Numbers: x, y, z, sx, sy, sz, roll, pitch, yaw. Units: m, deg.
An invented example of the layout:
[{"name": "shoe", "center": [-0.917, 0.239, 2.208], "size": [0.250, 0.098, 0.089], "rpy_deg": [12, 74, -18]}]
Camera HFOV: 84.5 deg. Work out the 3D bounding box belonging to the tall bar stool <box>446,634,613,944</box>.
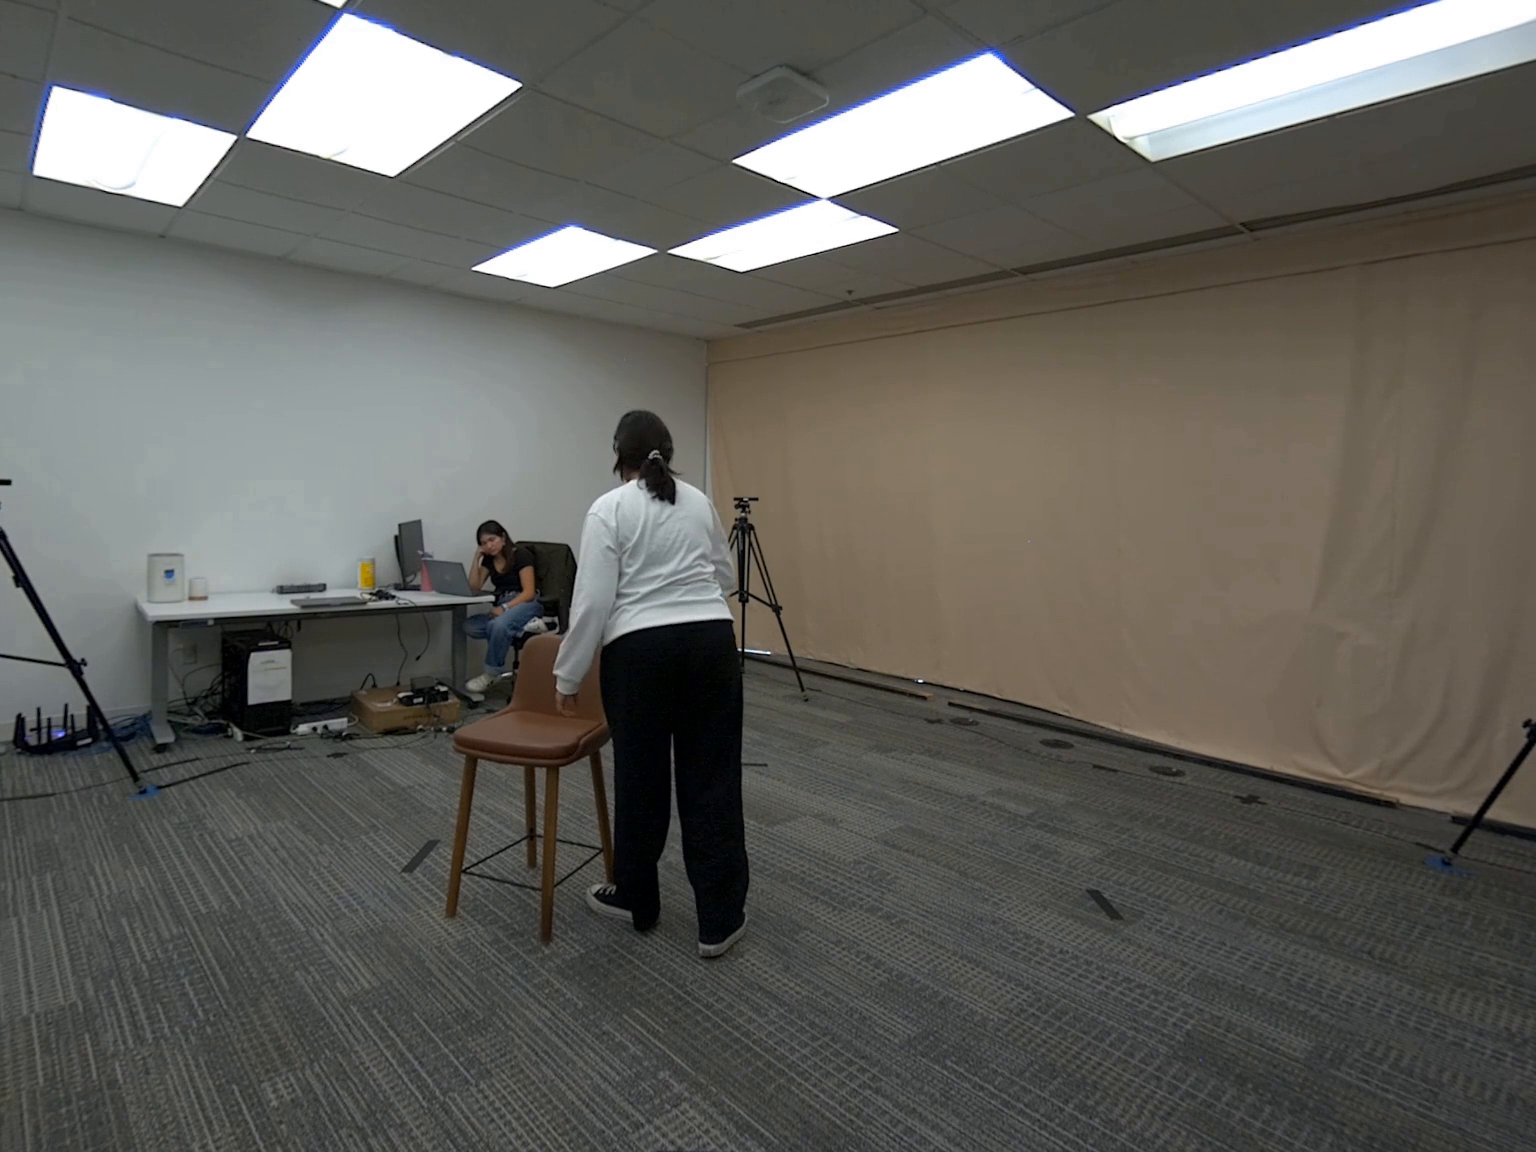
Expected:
[{"name": "tall bar stool", "center": [-0.788, 0.681, 2.869], "size": [0.465, 0.888, 0.460], "rpy_deg": [3, 3, 23]}]
